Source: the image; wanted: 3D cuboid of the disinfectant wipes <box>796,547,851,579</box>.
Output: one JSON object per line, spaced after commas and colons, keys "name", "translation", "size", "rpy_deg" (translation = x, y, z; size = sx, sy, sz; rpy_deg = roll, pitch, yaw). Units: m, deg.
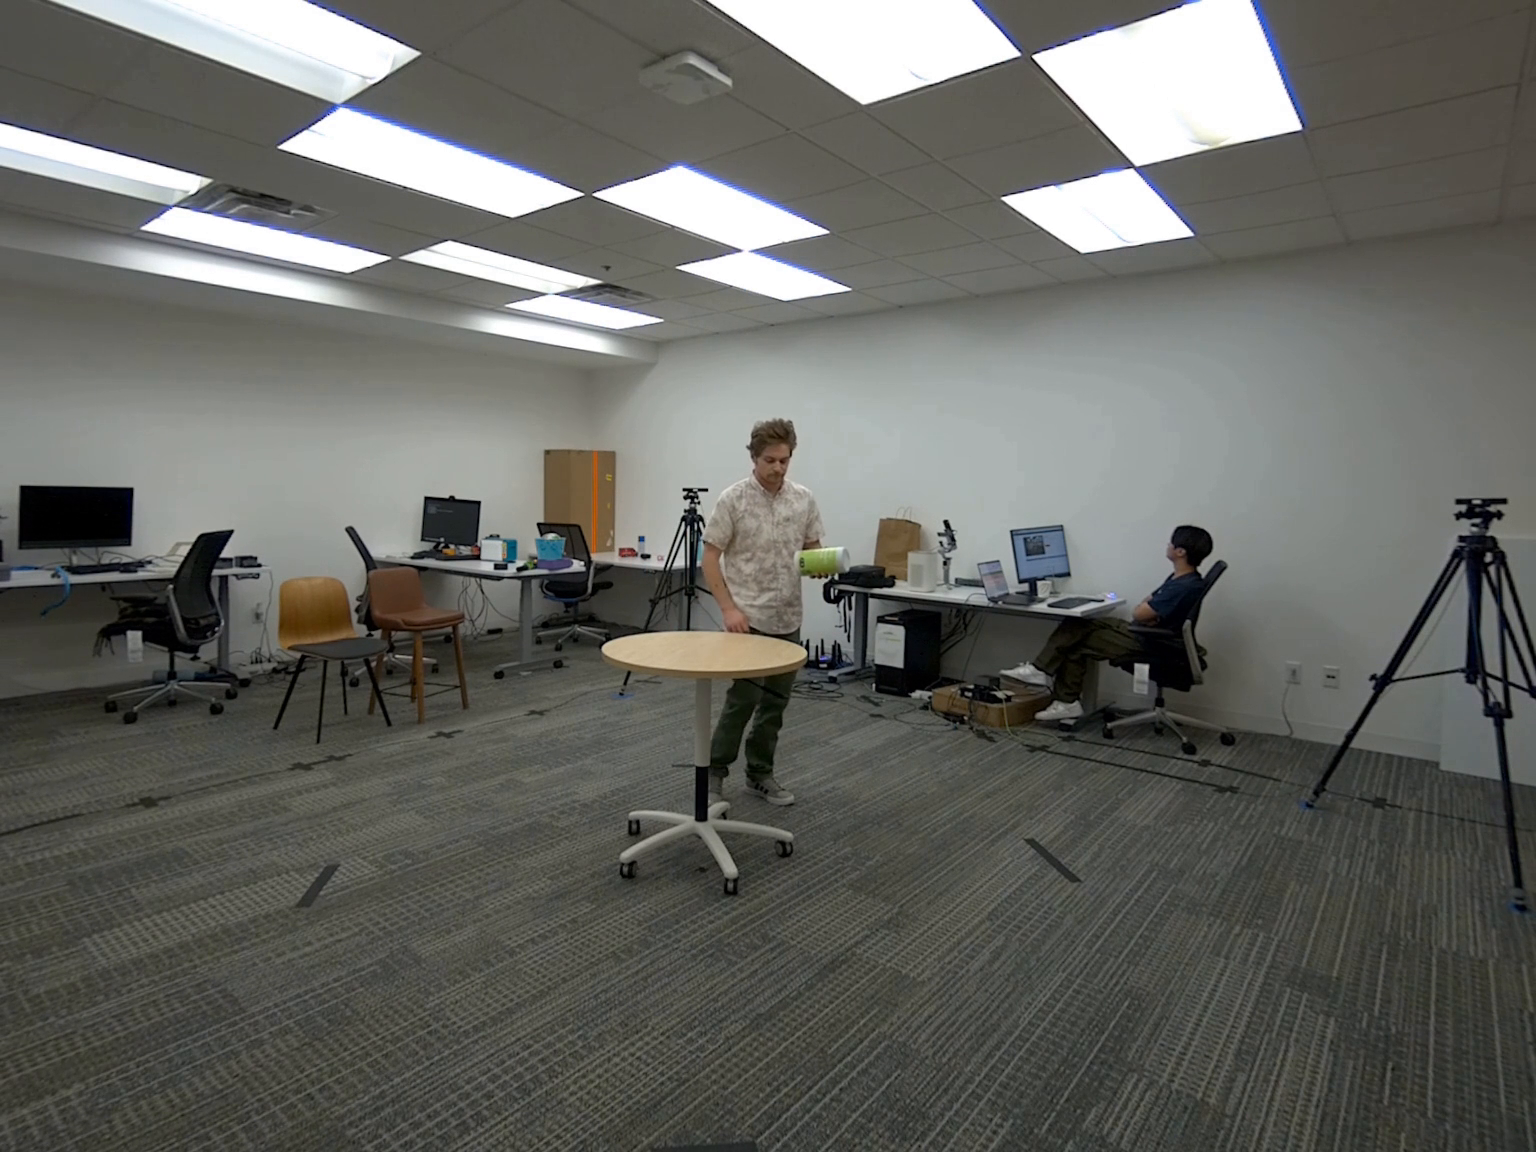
{"name": "disinfectant wipes", "translation": [0.209, -0.066, 3.535], "size": [0.222, 0.118, 0.115], "rpy_deg": [-4, 2, 23]}
